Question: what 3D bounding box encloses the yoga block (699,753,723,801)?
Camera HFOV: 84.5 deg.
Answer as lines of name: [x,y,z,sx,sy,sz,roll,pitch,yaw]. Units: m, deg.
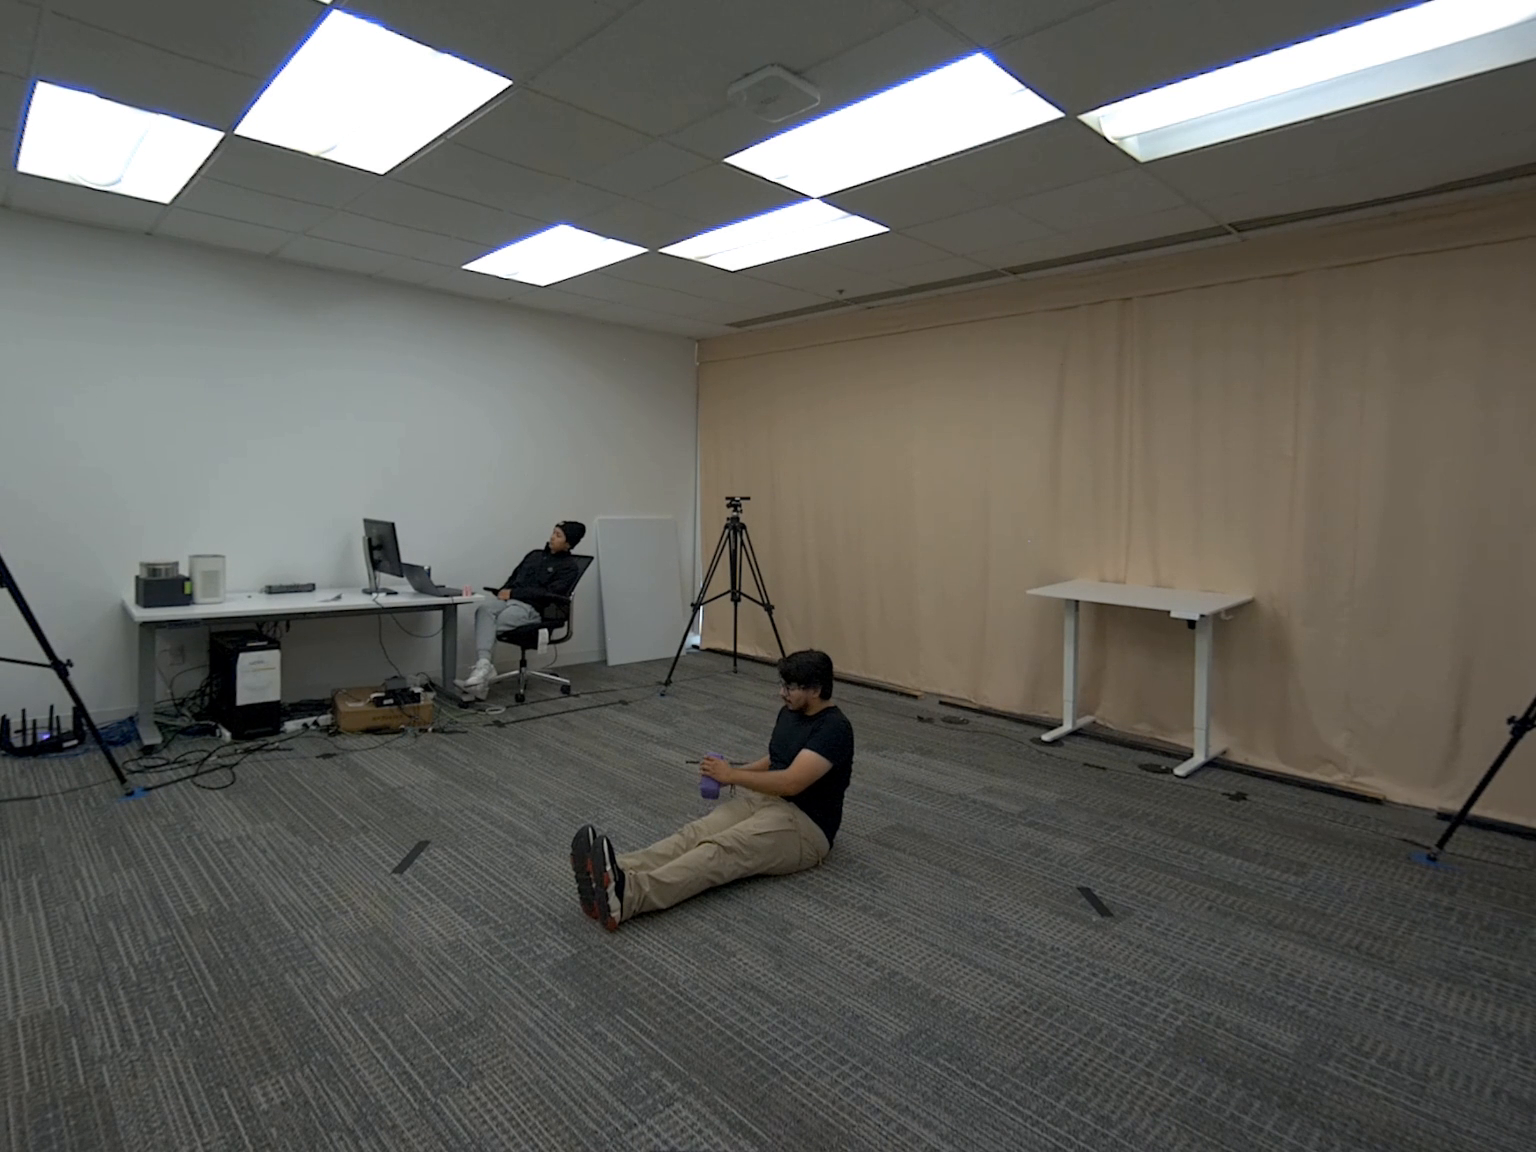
yoga block: [-0.228,0.815,3.417,0.076,0.151,0.225,6,-27,0]
